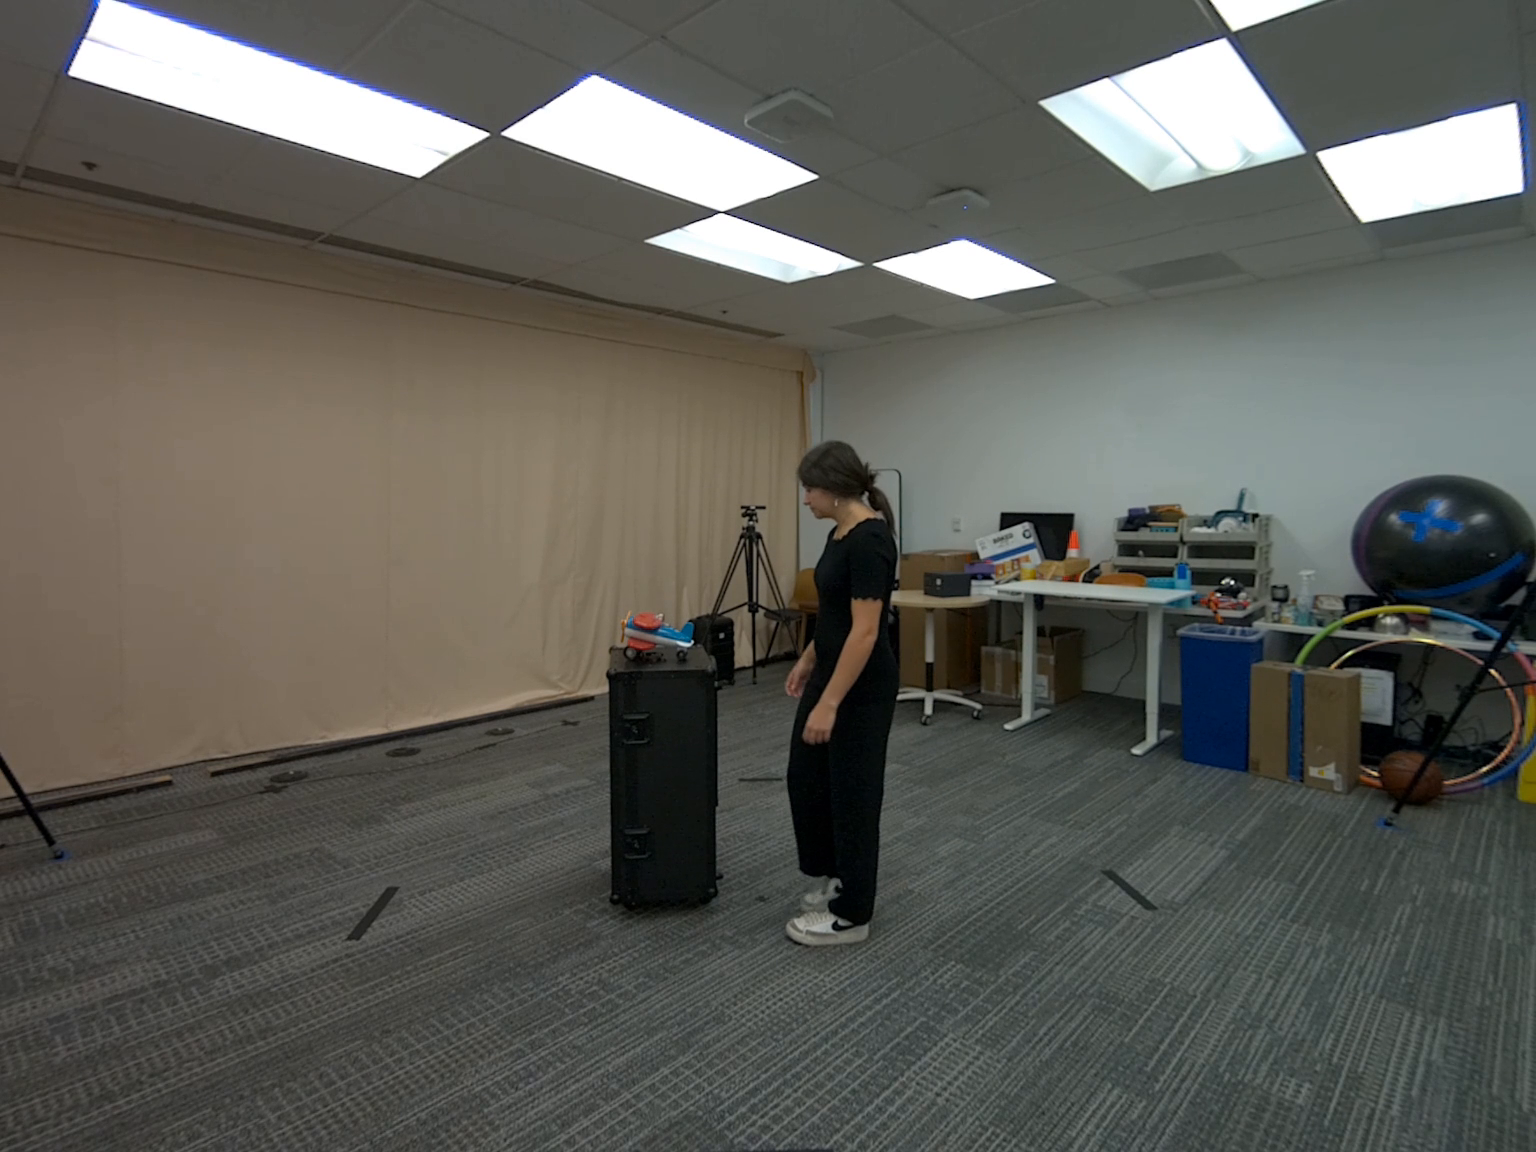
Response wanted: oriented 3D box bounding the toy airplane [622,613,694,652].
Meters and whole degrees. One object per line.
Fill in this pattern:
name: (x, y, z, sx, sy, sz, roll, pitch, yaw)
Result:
toy airplane: (-0.400, 0.217, 3.025, 0.253, 0.156, 0.258, -2, 6, -24)
